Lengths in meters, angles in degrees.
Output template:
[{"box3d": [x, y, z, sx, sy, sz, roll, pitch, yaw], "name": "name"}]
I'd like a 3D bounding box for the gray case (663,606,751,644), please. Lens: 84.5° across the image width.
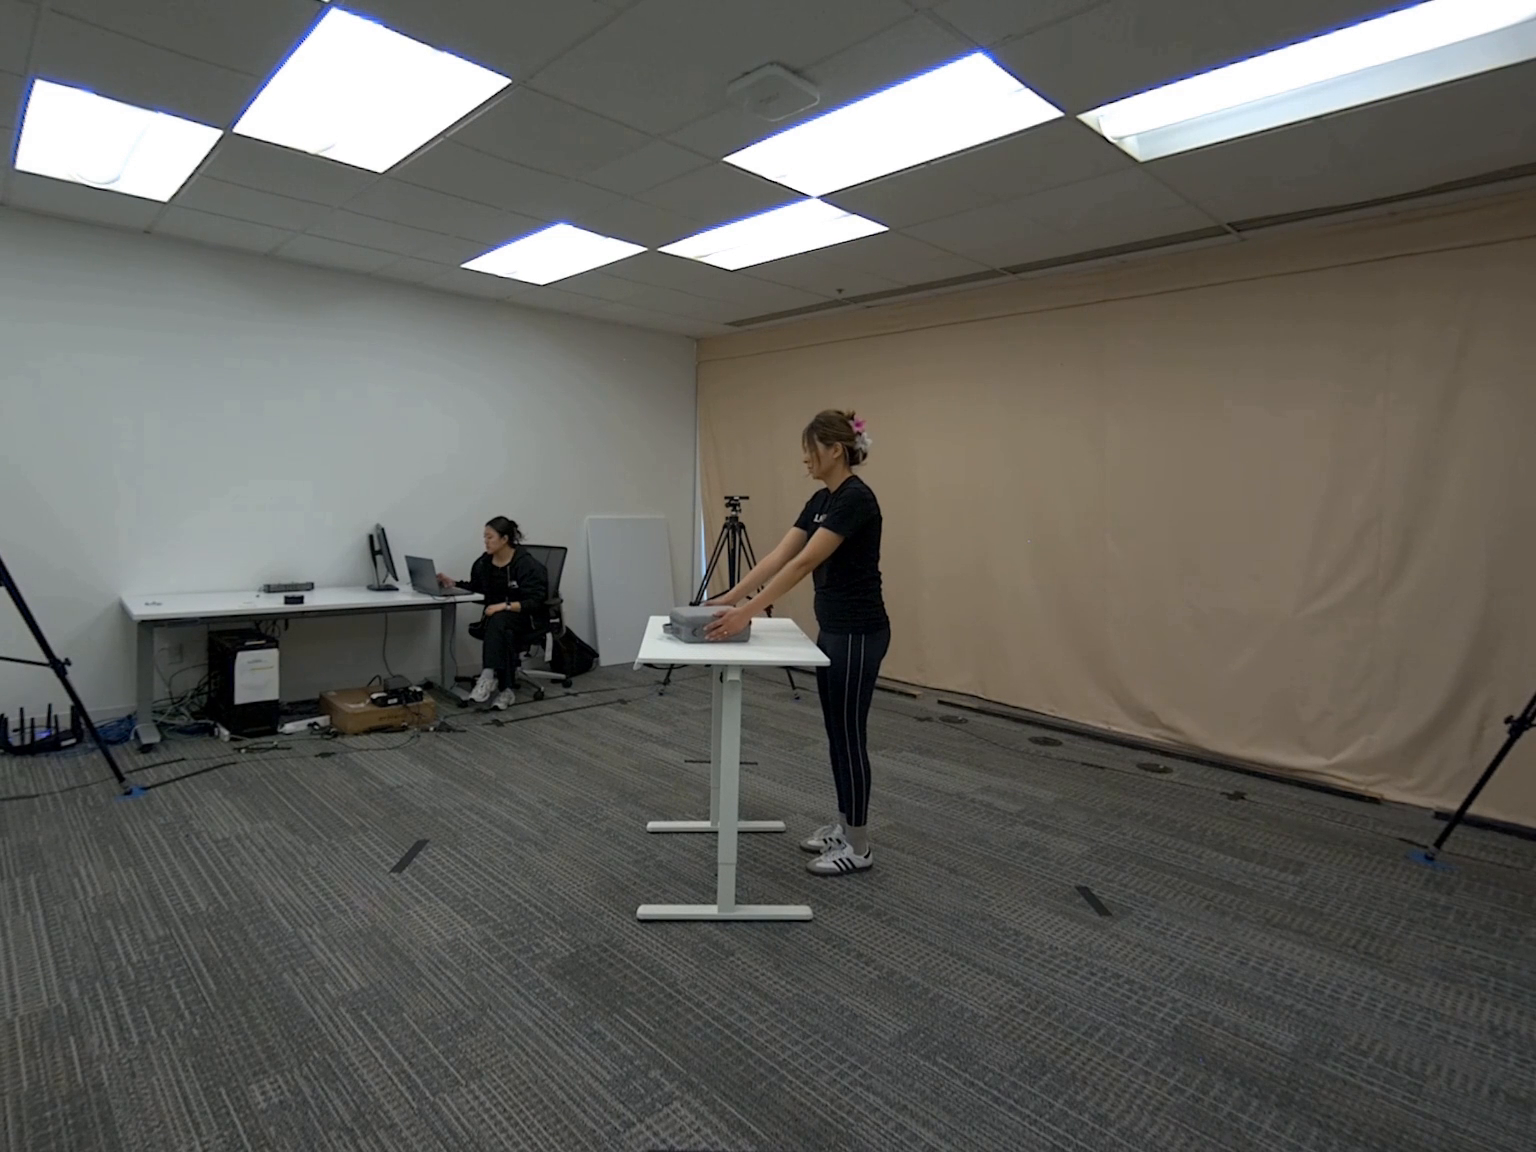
[{"box3d": [-0.229, 0.175, 3.031, 0.257, 0.104, 0.261, -1, 6, -17], "name": "gray case"}]
